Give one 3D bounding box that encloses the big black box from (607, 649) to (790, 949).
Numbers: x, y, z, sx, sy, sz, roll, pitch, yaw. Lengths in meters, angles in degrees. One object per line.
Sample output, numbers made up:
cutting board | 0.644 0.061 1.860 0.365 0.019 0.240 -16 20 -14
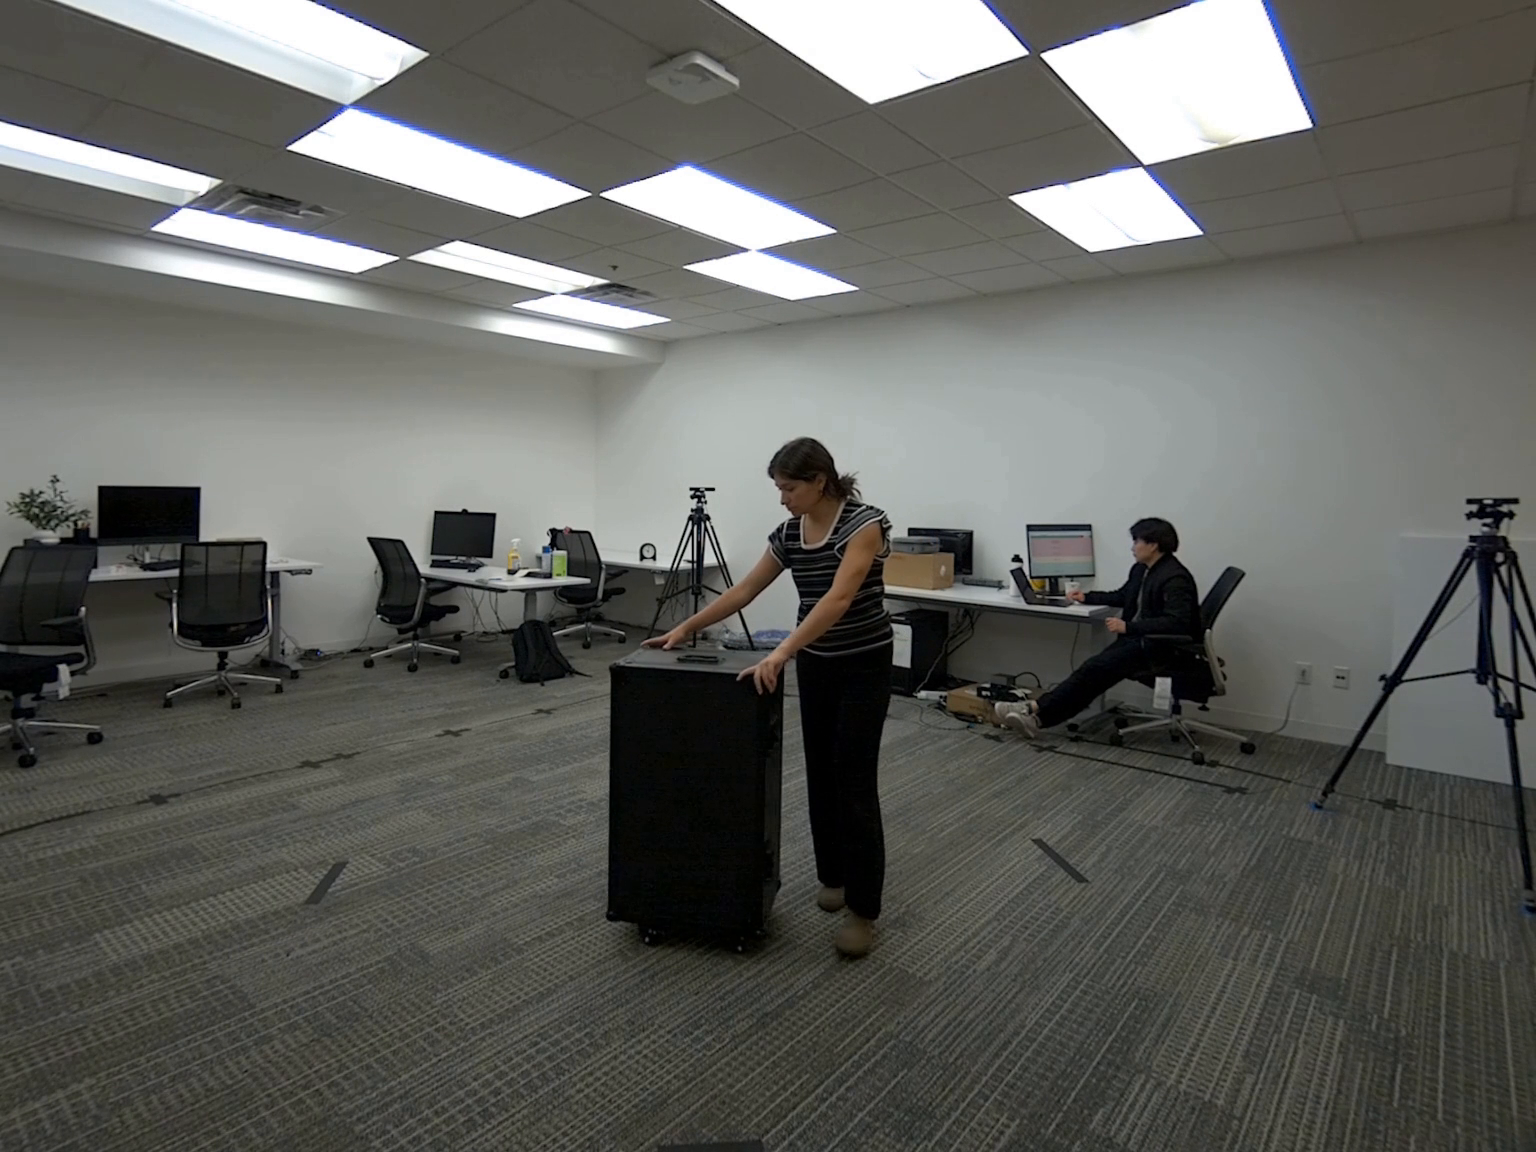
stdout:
big black box | -0.231 0.682 2.694 0.528 0.860 0.392 1 2 11
